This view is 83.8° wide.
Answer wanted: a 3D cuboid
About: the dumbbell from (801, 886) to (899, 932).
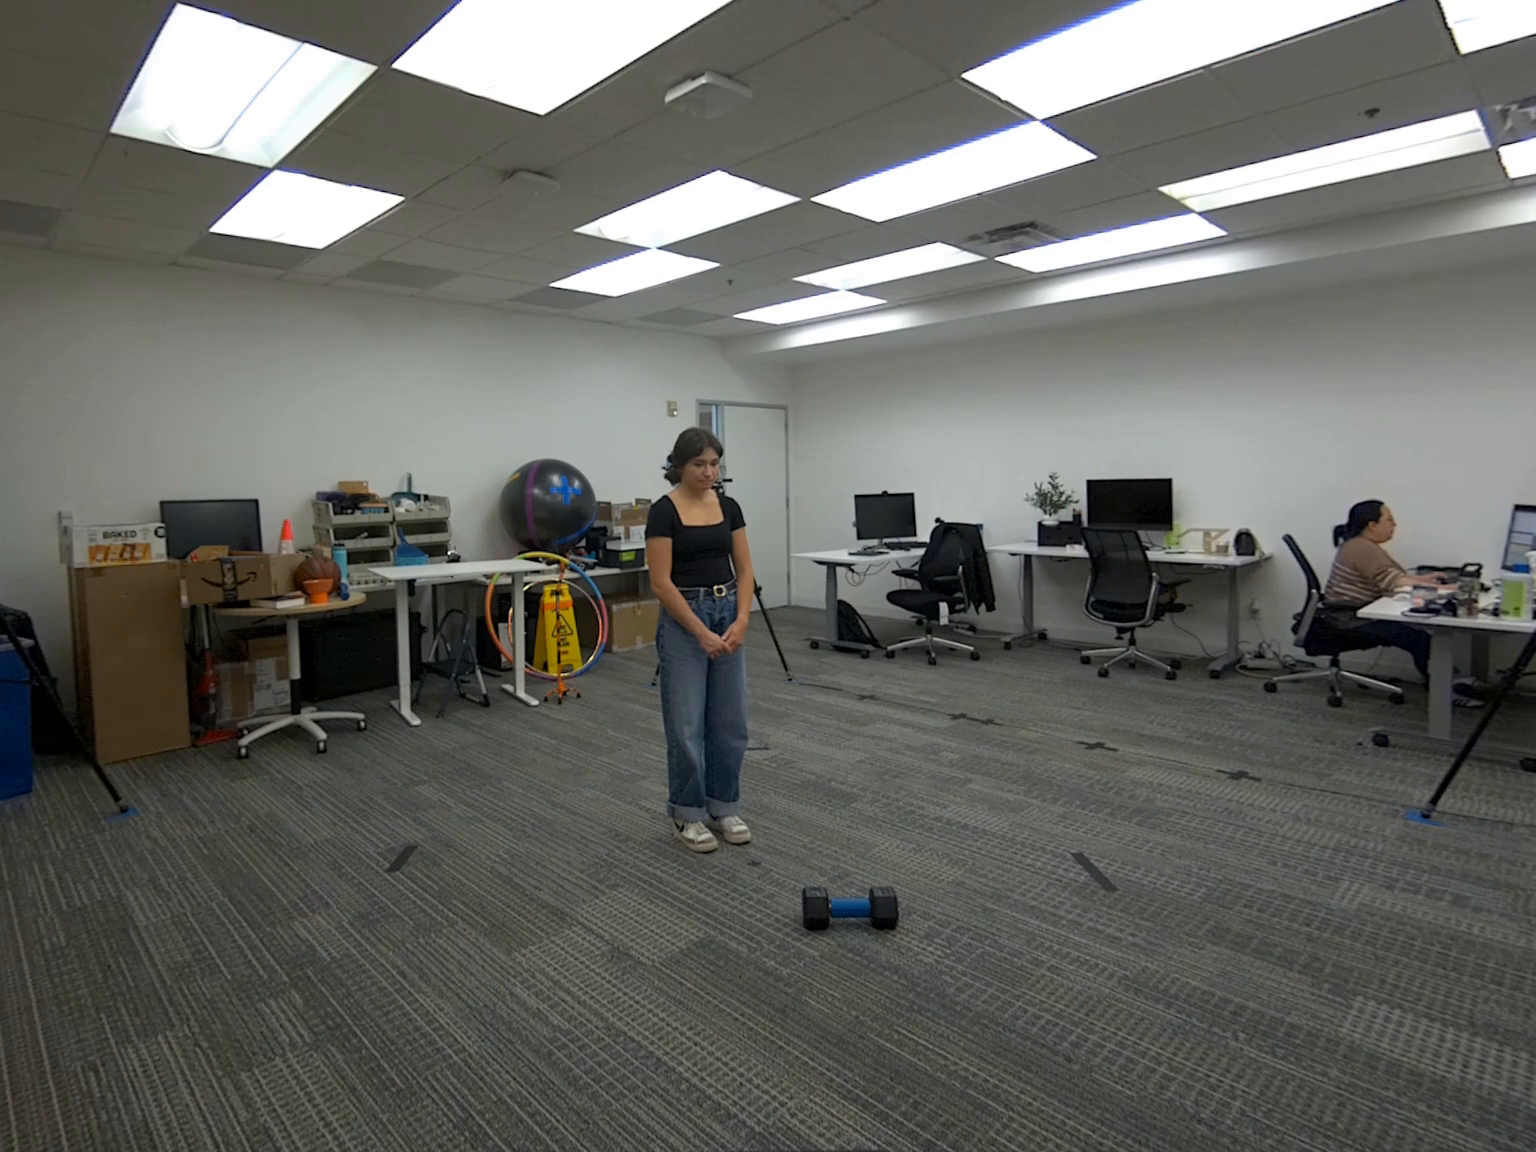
[{"bbox_3d":[0.259,1.038,2.666,0.294,0.126,0.106,-1,-26,1],"label":"dumbbell"}]
